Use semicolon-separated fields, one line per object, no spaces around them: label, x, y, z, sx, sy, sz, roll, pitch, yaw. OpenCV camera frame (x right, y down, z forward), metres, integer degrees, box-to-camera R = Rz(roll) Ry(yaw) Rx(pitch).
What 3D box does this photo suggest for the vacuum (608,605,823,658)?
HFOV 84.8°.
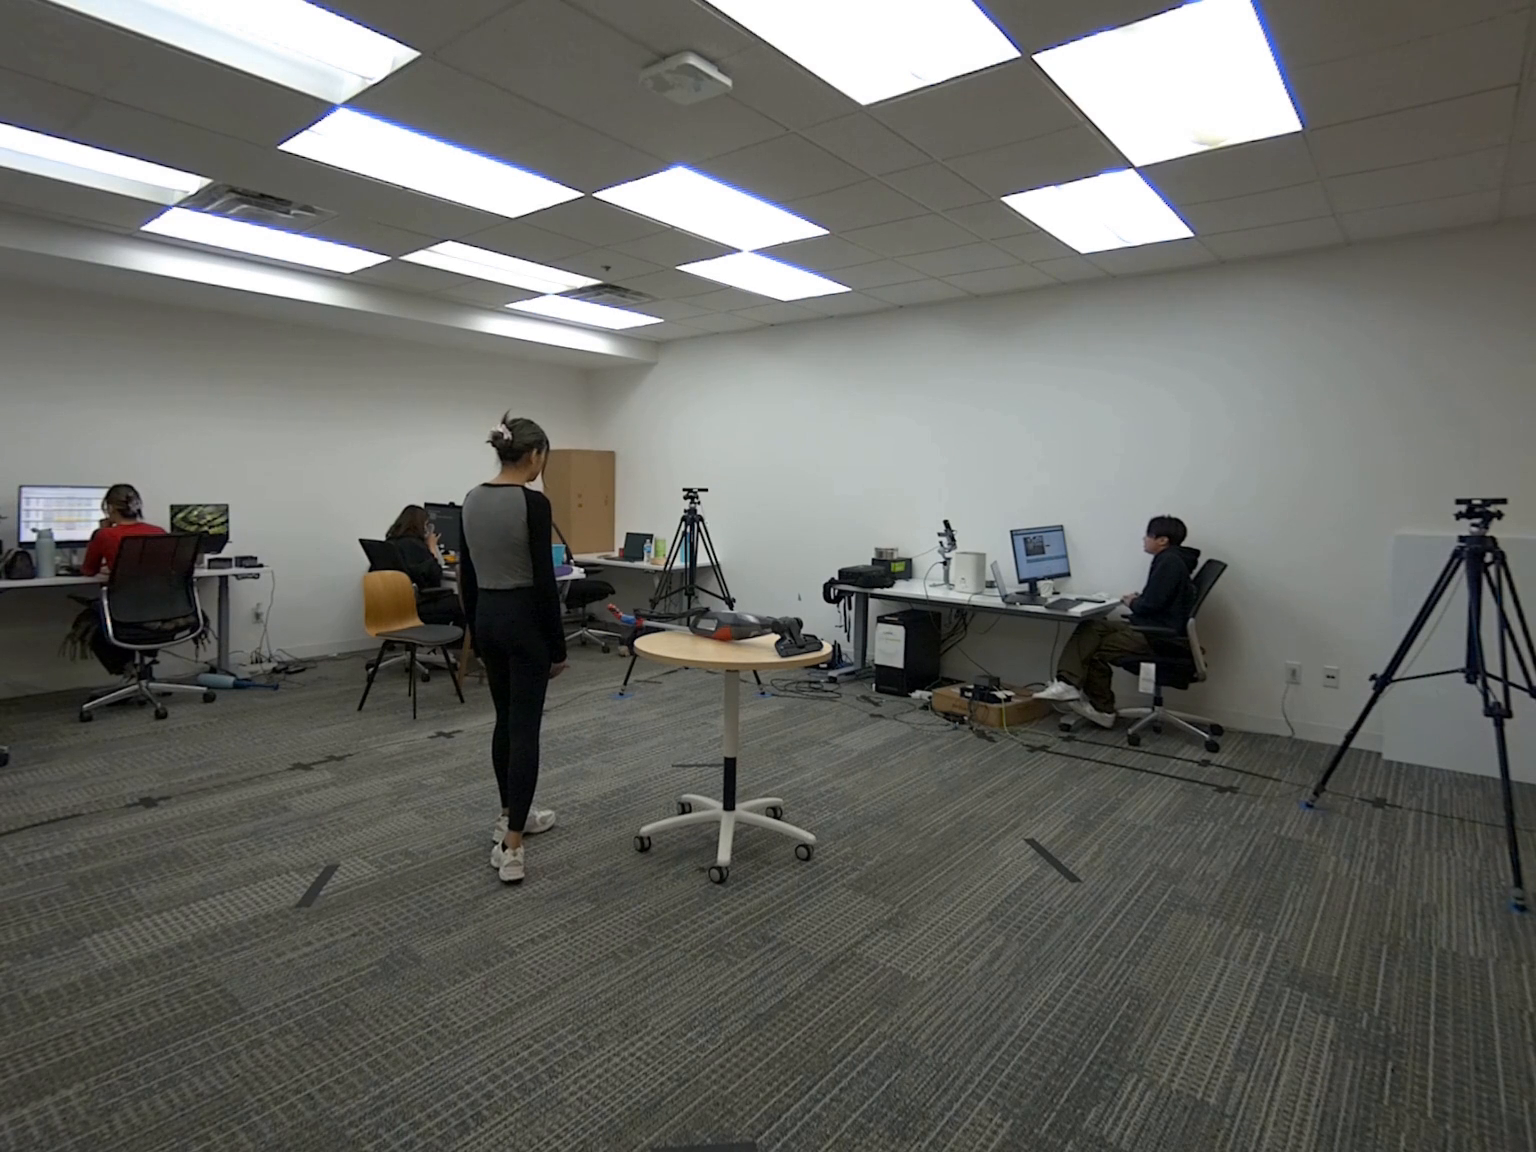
vacuum;-0.306;0.190;3.493;1.085;0.143;0.245;6;6;40
